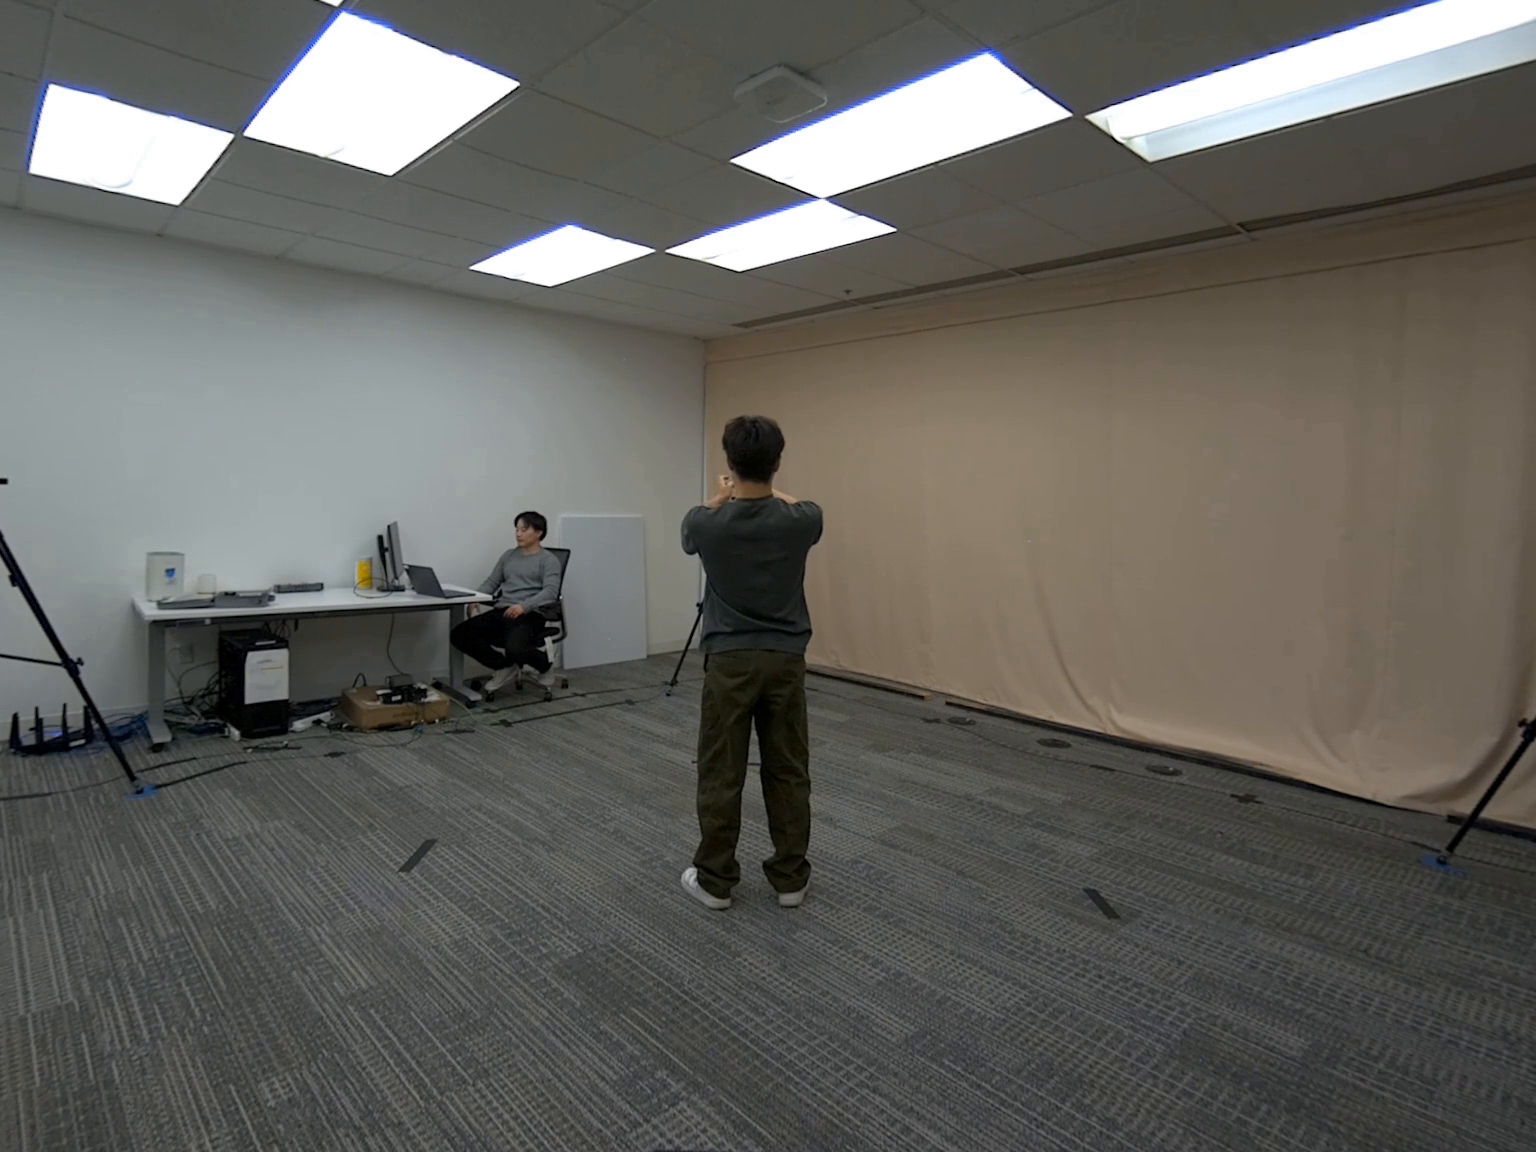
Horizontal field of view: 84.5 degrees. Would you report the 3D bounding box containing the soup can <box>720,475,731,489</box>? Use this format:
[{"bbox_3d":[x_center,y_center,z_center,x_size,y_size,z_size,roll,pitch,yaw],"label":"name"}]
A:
[{"bbox_3d":[-0.098,-0.375,3.377,0.067,0.121,0.067,-28,4,1],"label":"soup can"}]
